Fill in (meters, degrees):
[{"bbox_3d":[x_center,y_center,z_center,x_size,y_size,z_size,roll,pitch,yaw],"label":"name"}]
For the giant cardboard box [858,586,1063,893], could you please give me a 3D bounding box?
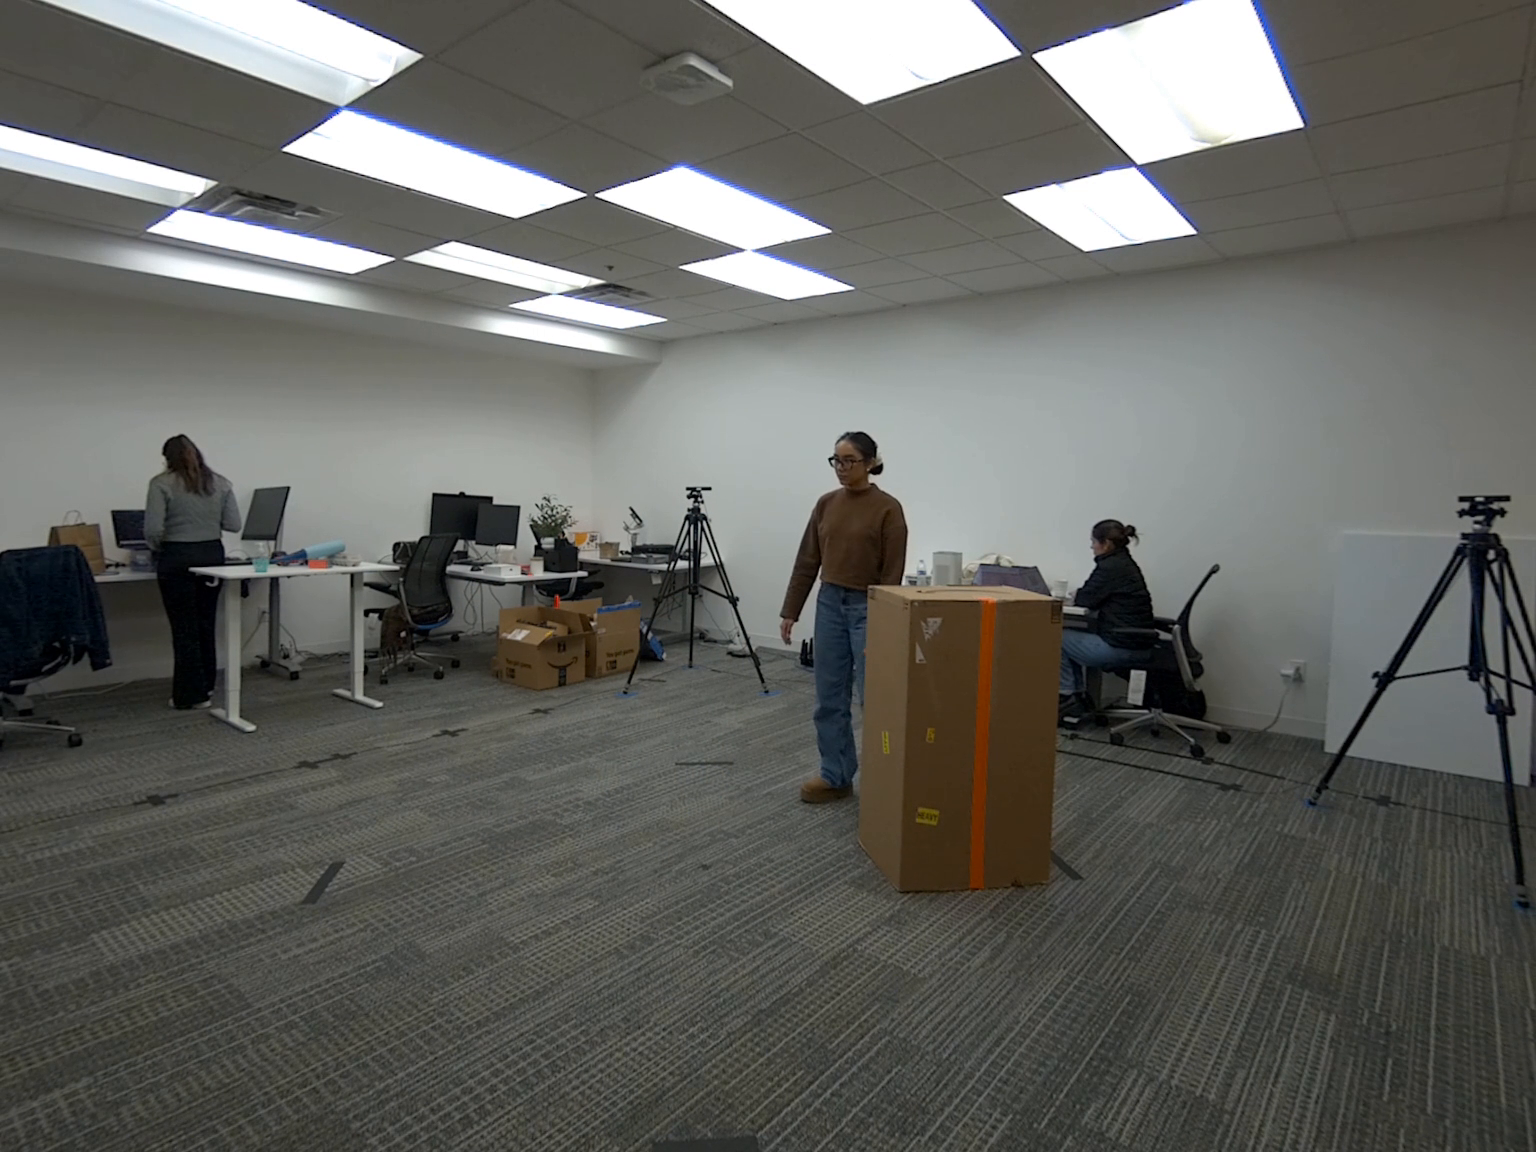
[{"bbox_3d":[0.697,0.568,3.174,0.570,1.023,0.433,2,3,-12],"label":"giant cardboard box"}]
